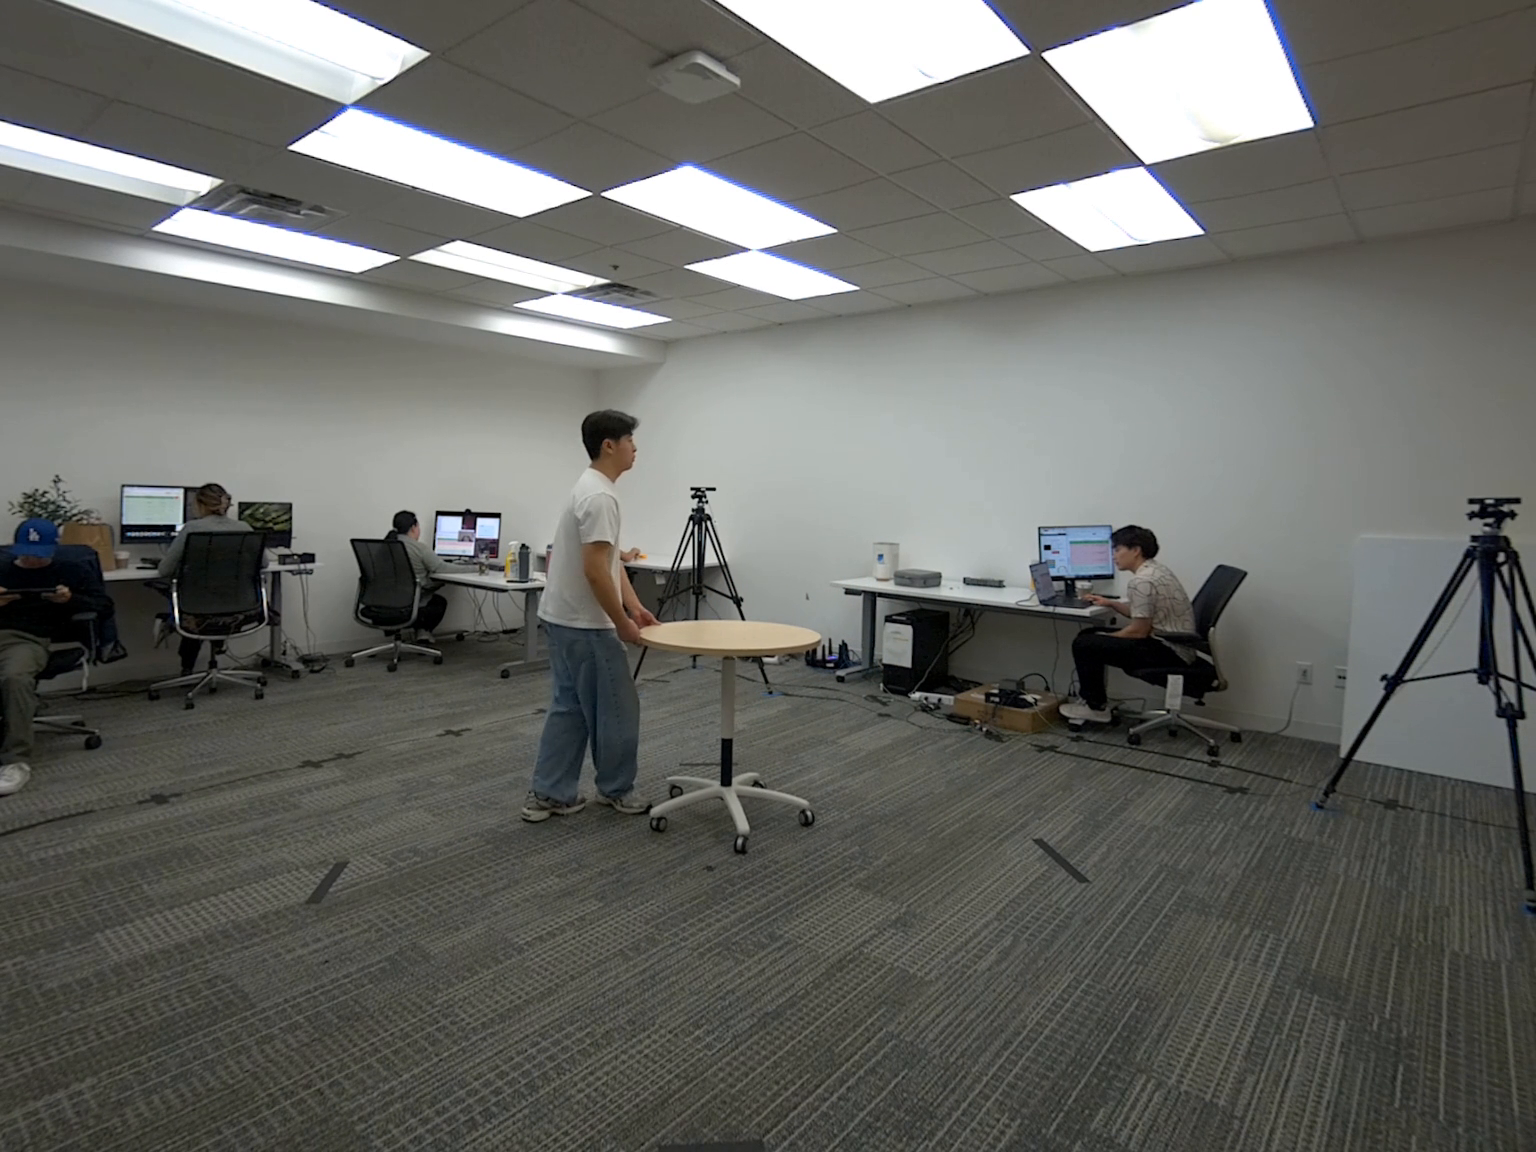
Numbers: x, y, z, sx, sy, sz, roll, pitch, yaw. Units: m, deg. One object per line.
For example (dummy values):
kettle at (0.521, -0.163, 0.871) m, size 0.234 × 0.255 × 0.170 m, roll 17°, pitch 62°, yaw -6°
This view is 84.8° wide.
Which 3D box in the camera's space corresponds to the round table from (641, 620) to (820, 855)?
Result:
round table at (-0.173, 0.634, 3.576) m, size 0.763 × 0.792 × 0.767 m, roll 1°, pitch 4°, yaw -2°
